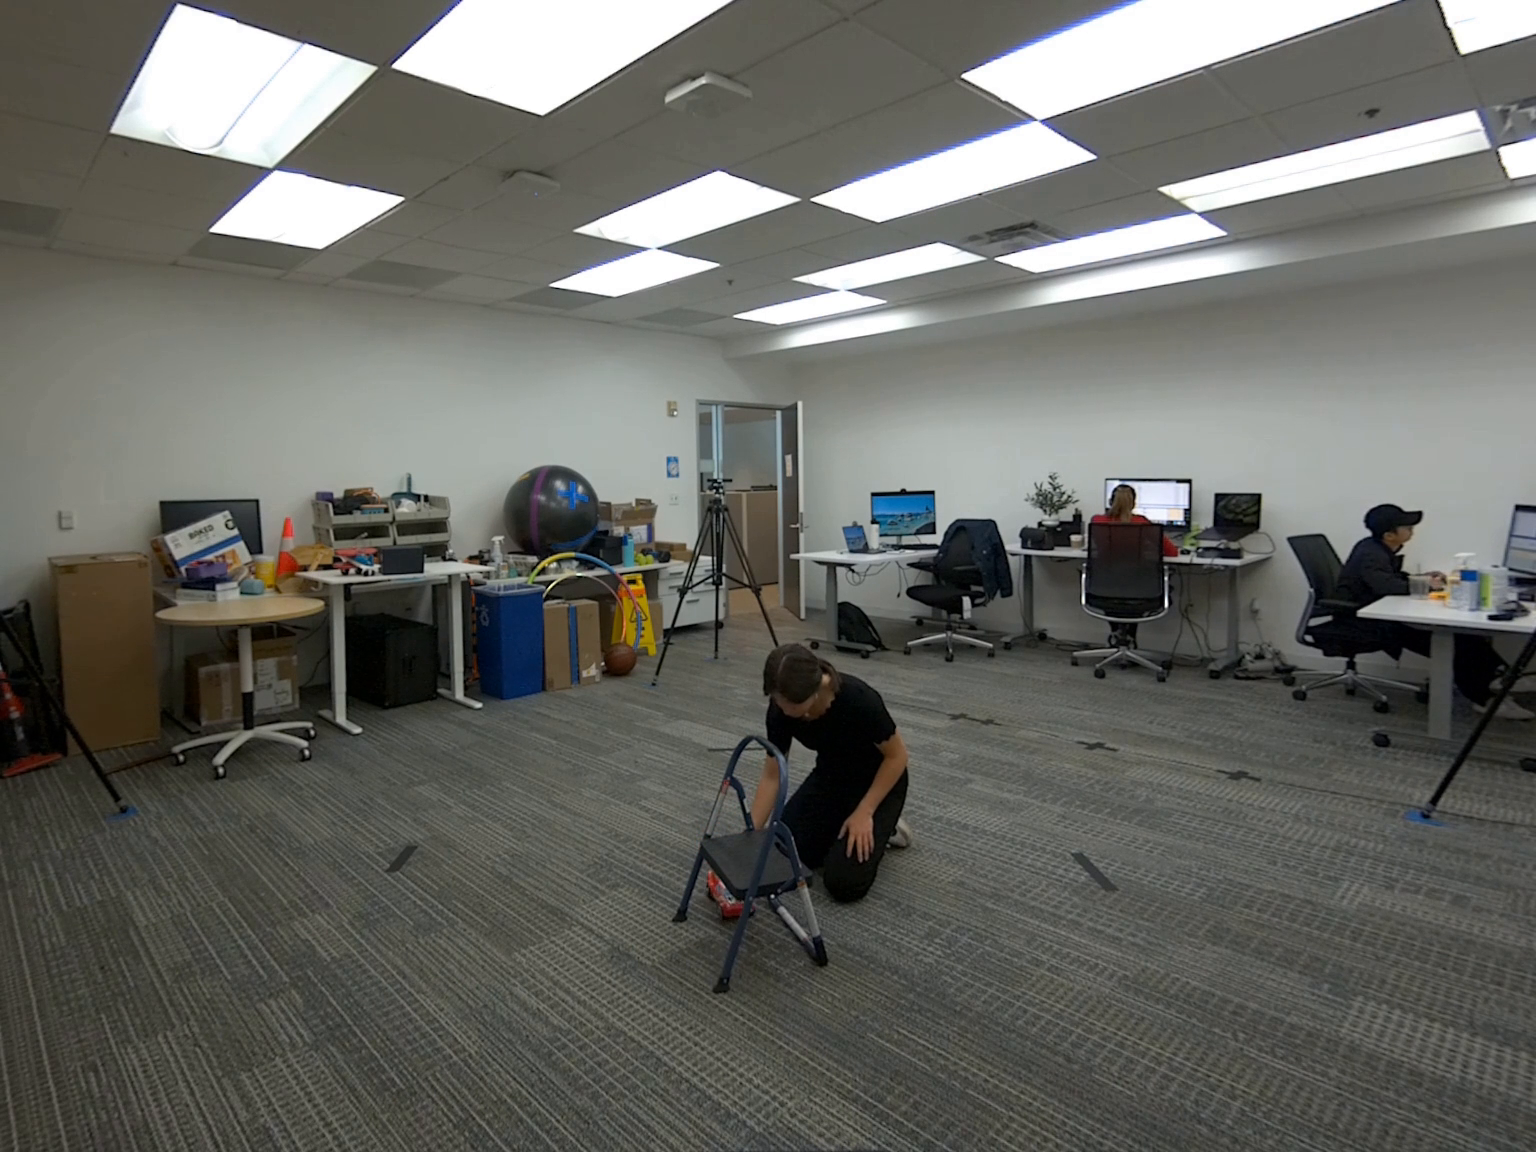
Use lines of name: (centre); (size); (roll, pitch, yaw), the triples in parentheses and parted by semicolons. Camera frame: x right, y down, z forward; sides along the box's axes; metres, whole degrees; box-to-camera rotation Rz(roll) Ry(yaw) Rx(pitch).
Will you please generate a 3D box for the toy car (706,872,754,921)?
toy car: (-0.126, 1.055, 2.813); (0.128, 0.082, 0.262); (-4, 17, -18)
